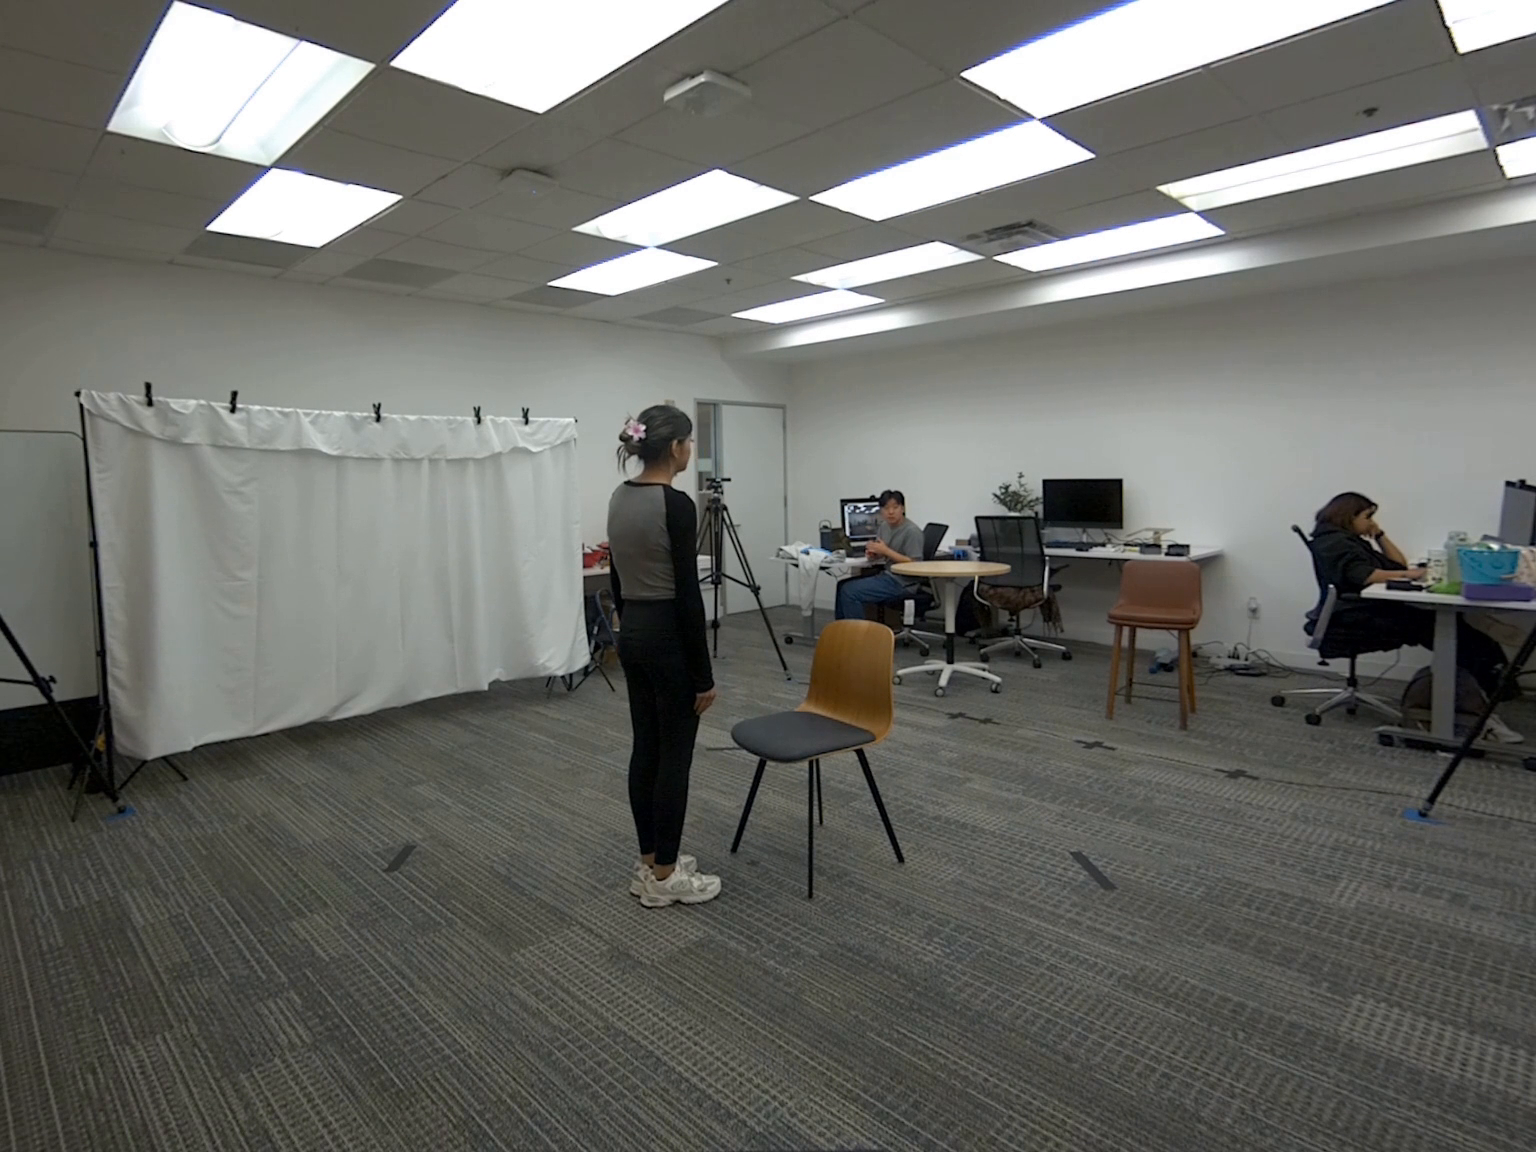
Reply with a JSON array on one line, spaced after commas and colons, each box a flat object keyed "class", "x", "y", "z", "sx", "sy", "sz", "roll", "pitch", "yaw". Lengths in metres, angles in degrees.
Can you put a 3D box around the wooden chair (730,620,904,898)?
[{"class": "wooden chair", "x": 0.170, "y": 0.613, "z": 3.100, "sx": 0.508, "sy": 0.876, "sz": 0.492, "roll": 1, "pitch": 3, "yaw": -37}]
